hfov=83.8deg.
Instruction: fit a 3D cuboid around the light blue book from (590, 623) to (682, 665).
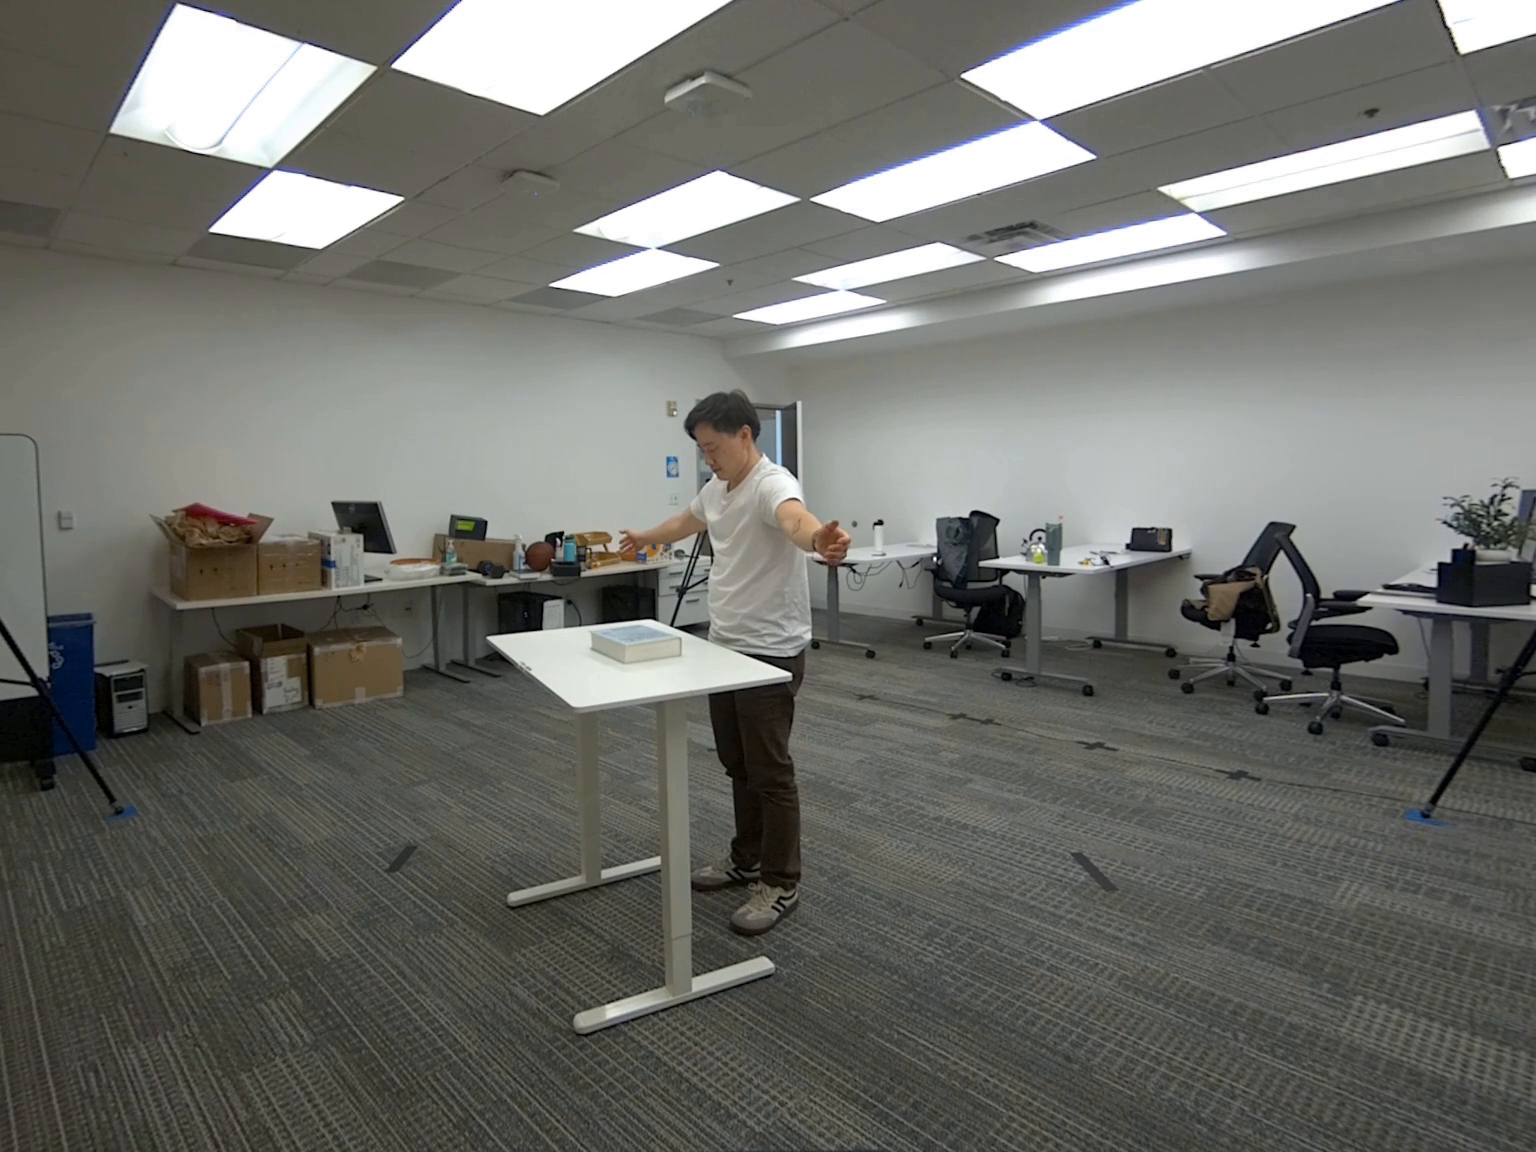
[{"bbox_3d":[-0.405,0.204,2.574,0.187,0.059,0.268,-5,8,-32],"label":"light blue book"}]
